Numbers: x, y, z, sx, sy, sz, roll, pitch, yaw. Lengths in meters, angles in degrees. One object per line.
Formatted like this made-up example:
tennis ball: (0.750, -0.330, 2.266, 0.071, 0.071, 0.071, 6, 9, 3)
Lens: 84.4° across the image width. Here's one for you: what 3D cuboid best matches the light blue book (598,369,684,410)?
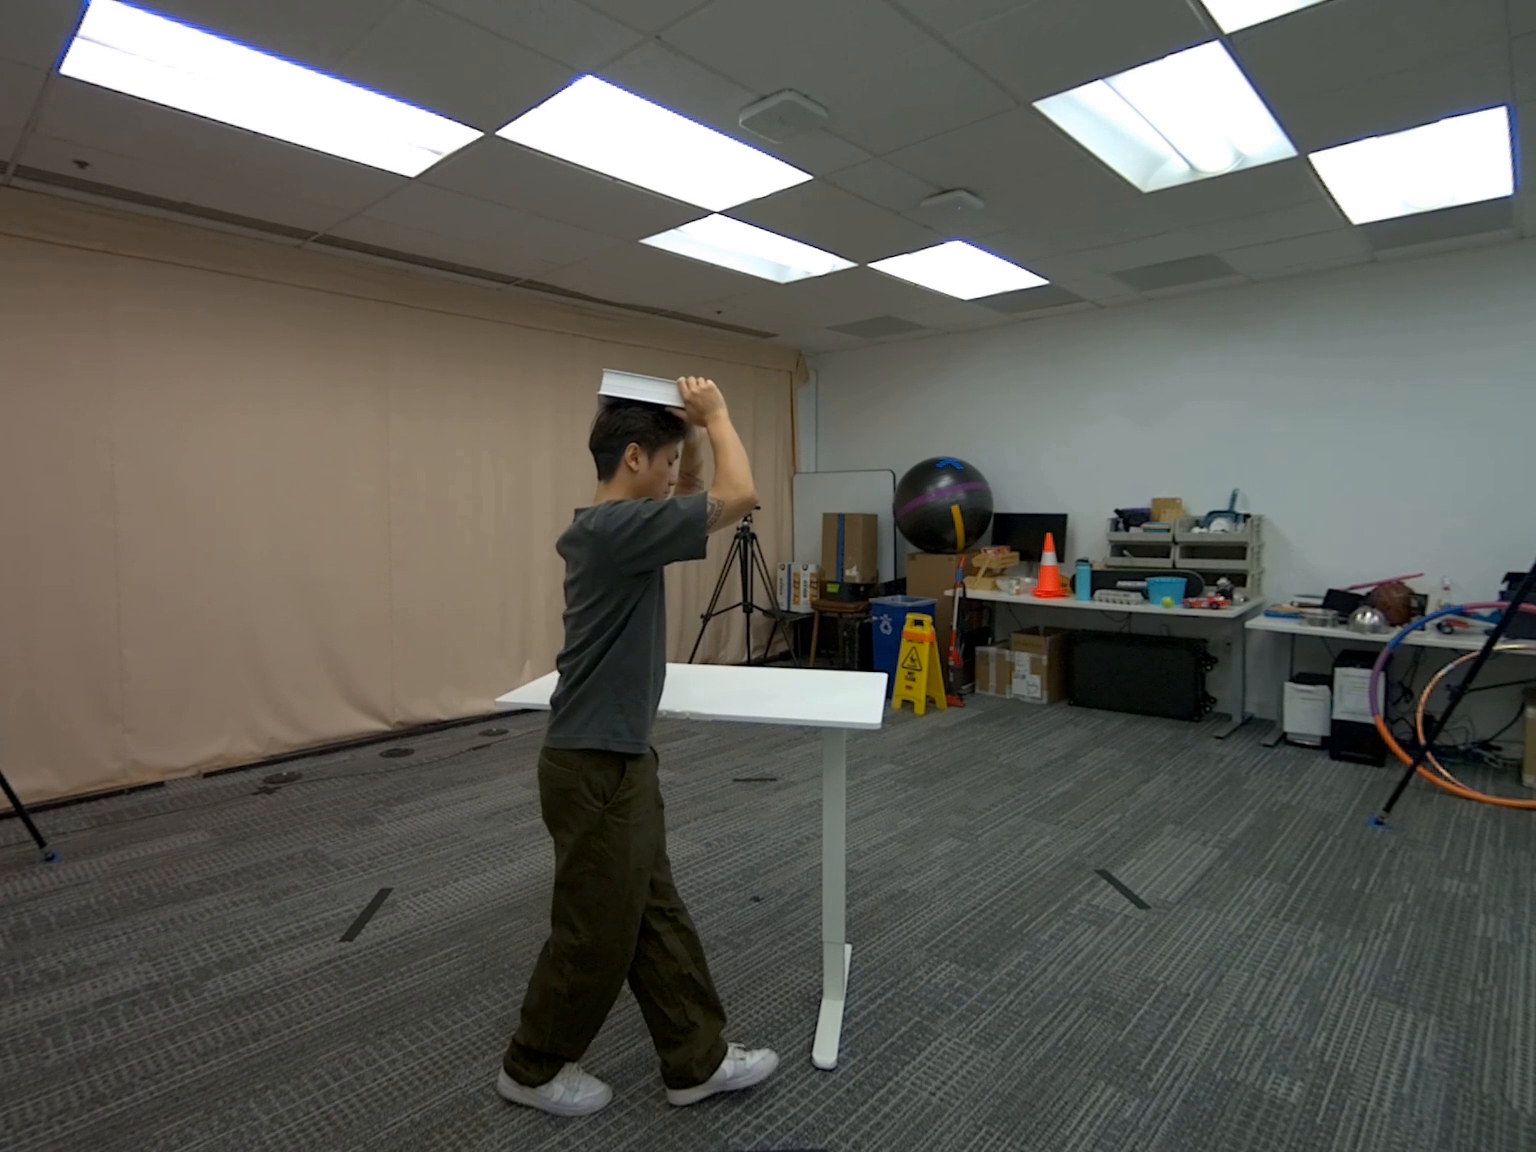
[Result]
light blue book: (-0.261, -0.419, 1.979, 0.258, 0.059, 0.193, 8, -1, -10)
